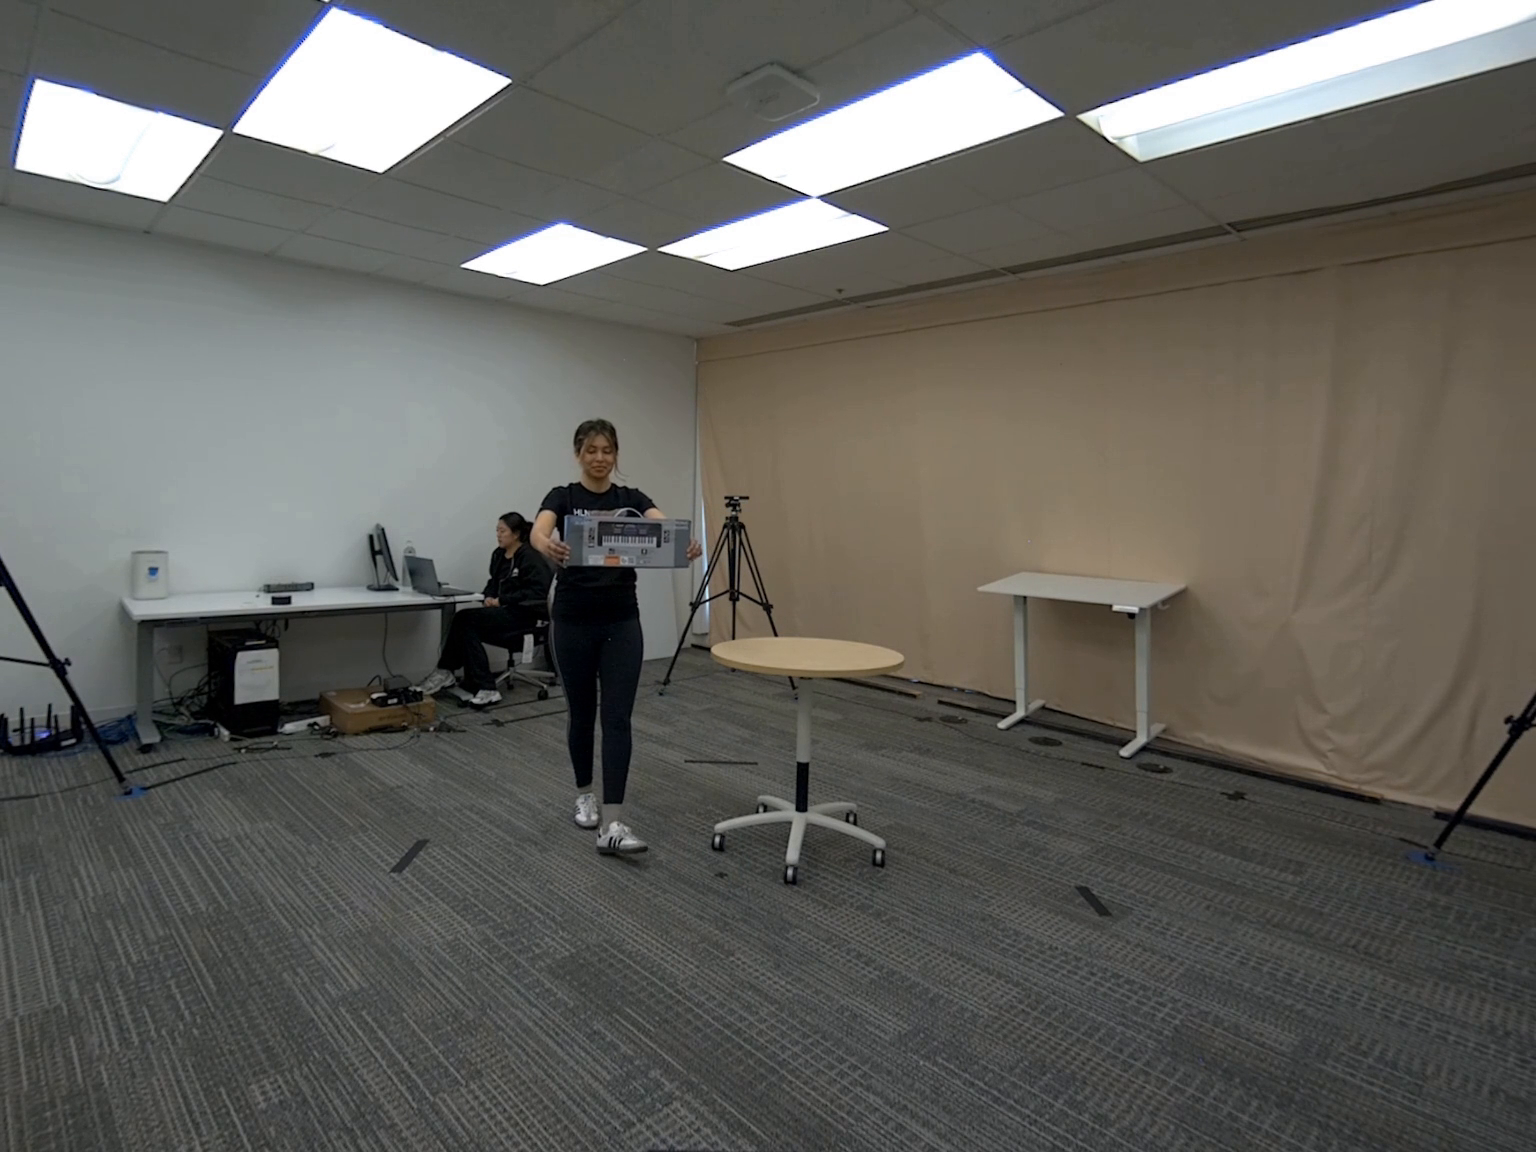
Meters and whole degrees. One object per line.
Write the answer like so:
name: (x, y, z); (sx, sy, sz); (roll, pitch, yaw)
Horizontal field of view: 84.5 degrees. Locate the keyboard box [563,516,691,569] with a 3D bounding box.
keyboard box: (-0.494, -0.117, 2.932); (0.430, 0.175, 0.060); (1, 4, -20)
